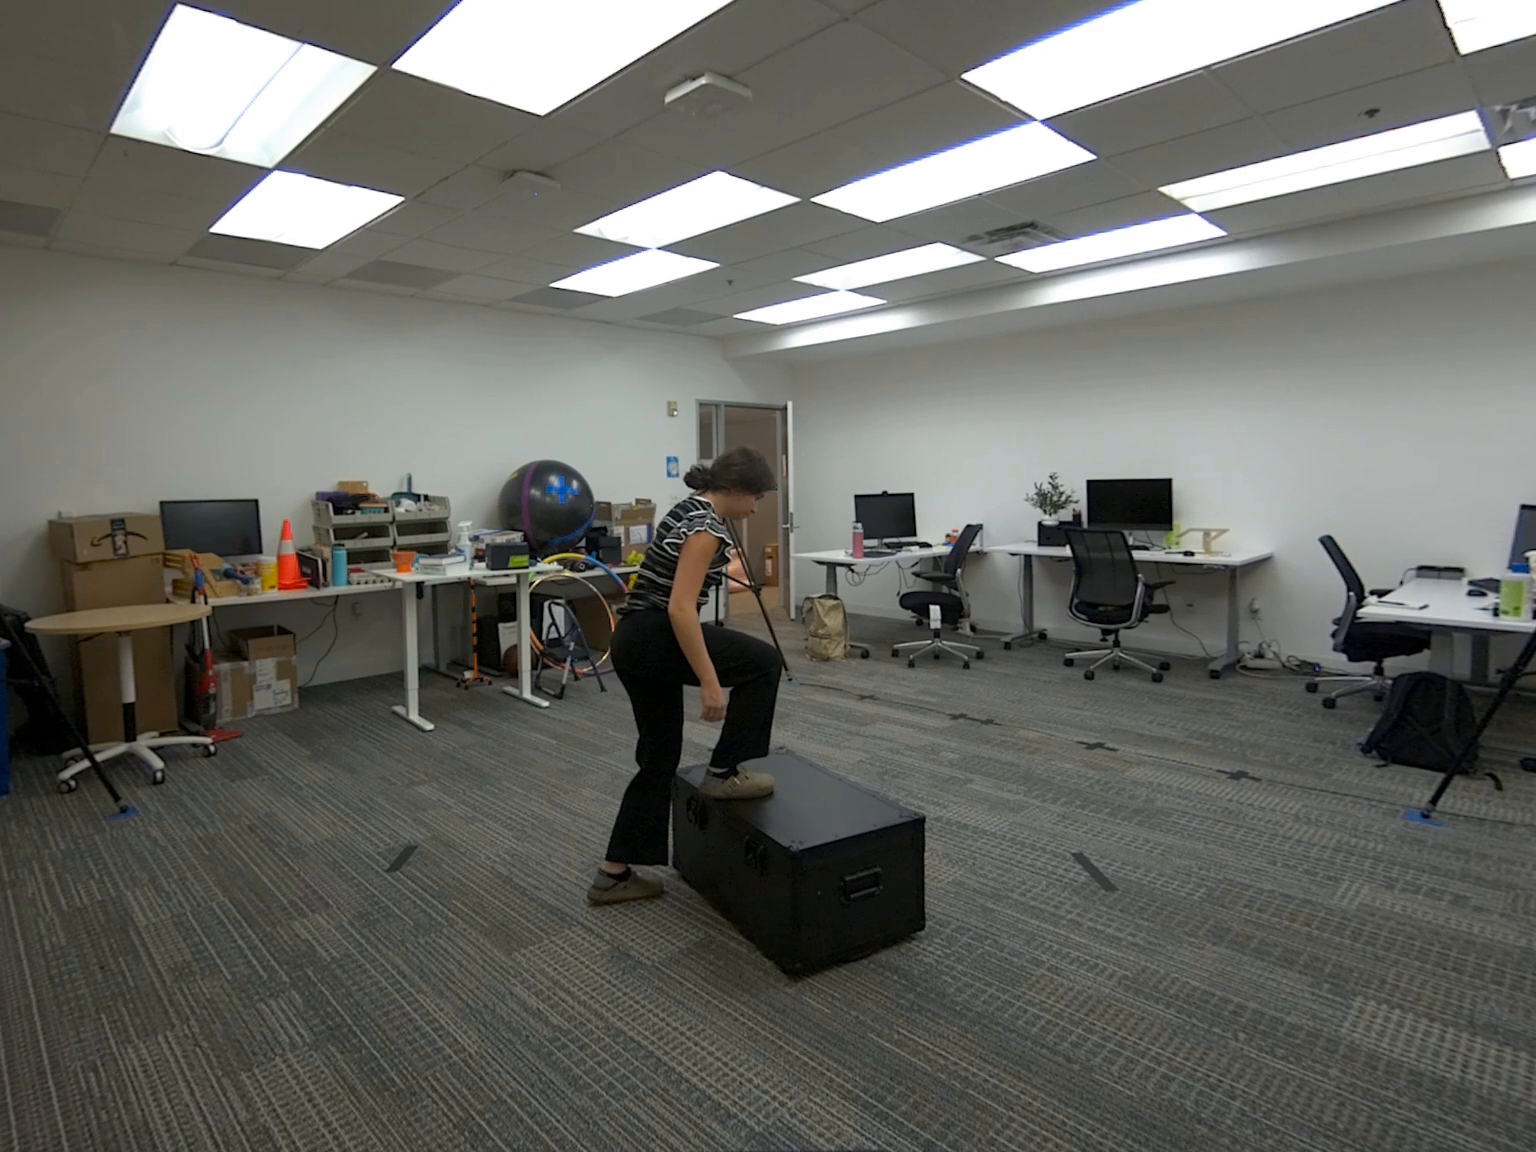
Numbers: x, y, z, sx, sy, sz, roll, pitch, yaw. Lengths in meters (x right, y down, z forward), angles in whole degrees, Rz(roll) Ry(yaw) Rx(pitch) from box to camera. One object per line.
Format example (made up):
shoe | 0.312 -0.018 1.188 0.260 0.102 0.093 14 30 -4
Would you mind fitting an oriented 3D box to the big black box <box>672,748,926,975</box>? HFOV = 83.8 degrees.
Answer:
big black box | 0.053 0.886 2.829 0.509 0.394 0.886 -4 7 -30
